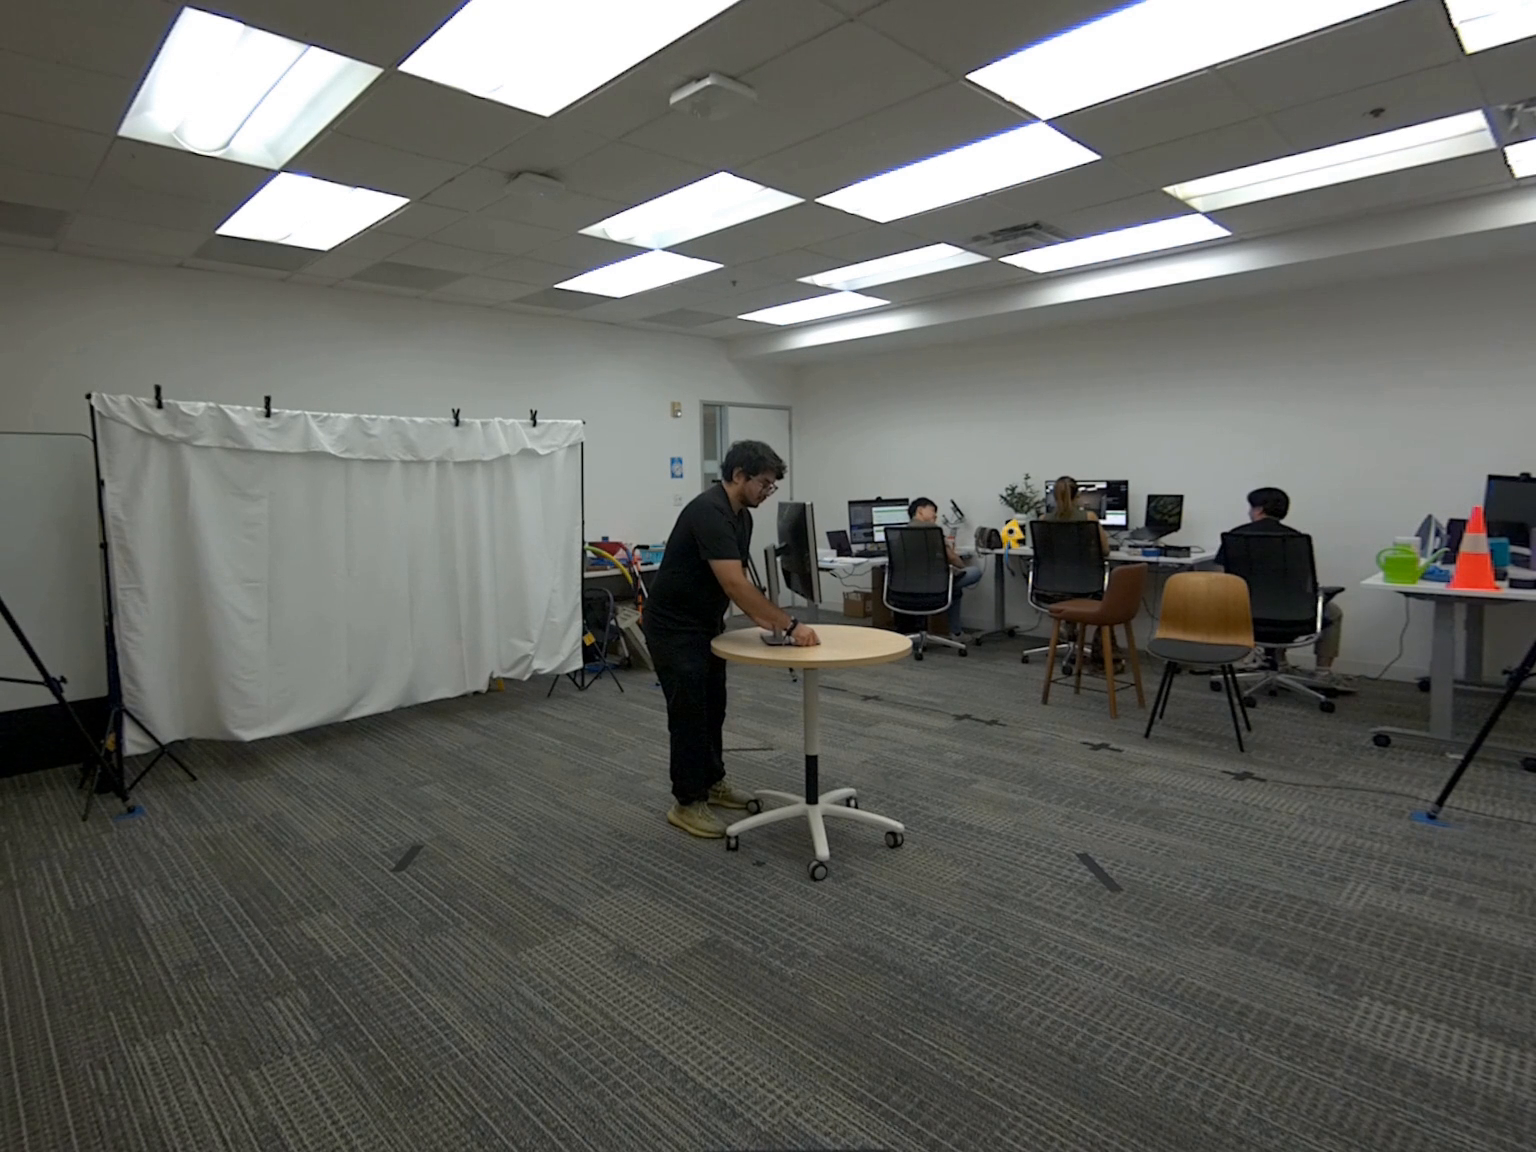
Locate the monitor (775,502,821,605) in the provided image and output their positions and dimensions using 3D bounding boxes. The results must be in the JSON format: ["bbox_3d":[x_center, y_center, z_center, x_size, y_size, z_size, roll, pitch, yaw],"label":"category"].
[{"bbox_3d":[0.056,-0.011,3.282,0.208,0.552,0.572,-4,5,-9],"label":"monitor"}]
